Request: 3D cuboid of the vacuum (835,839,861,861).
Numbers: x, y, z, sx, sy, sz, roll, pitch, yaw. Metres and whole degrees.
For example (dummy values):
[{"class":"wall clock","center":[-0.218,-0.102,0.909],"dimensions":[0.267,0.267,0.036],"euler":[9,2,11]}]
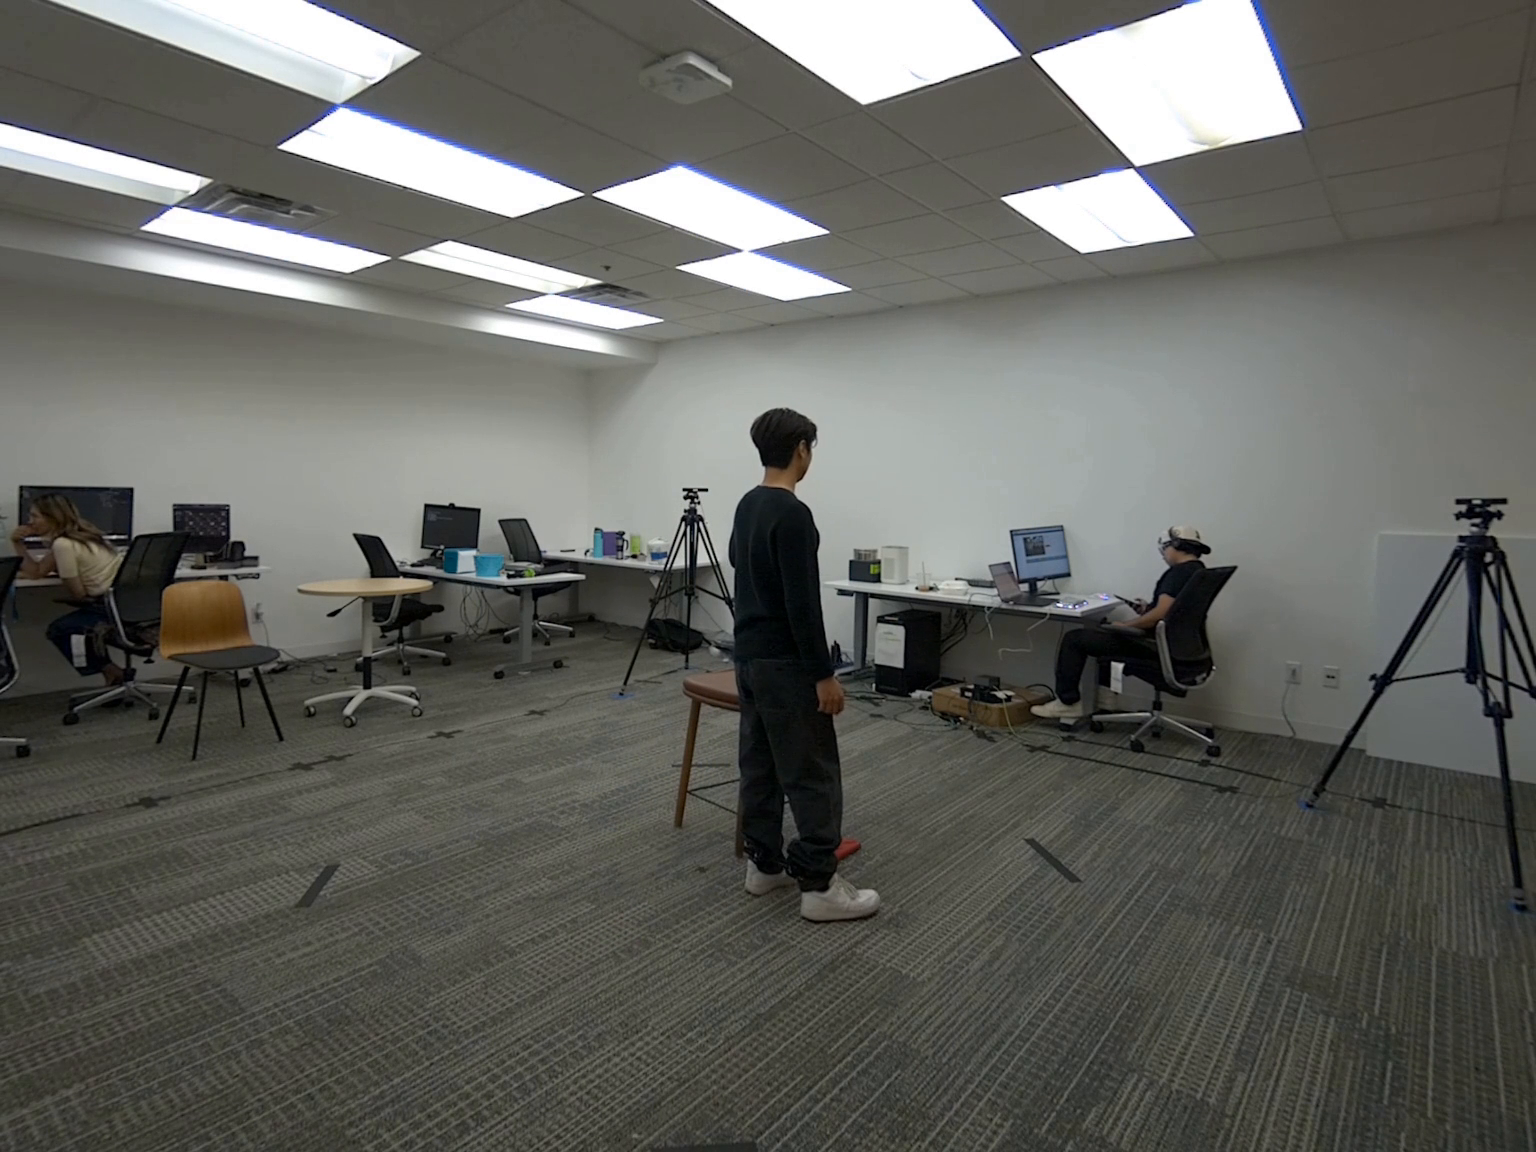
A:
[{"class":"vacuum","center":[0.156,0.544,3.335],"dimensions":[0.147,1.055,0.245],"euler":[-12,-6,38]}]
